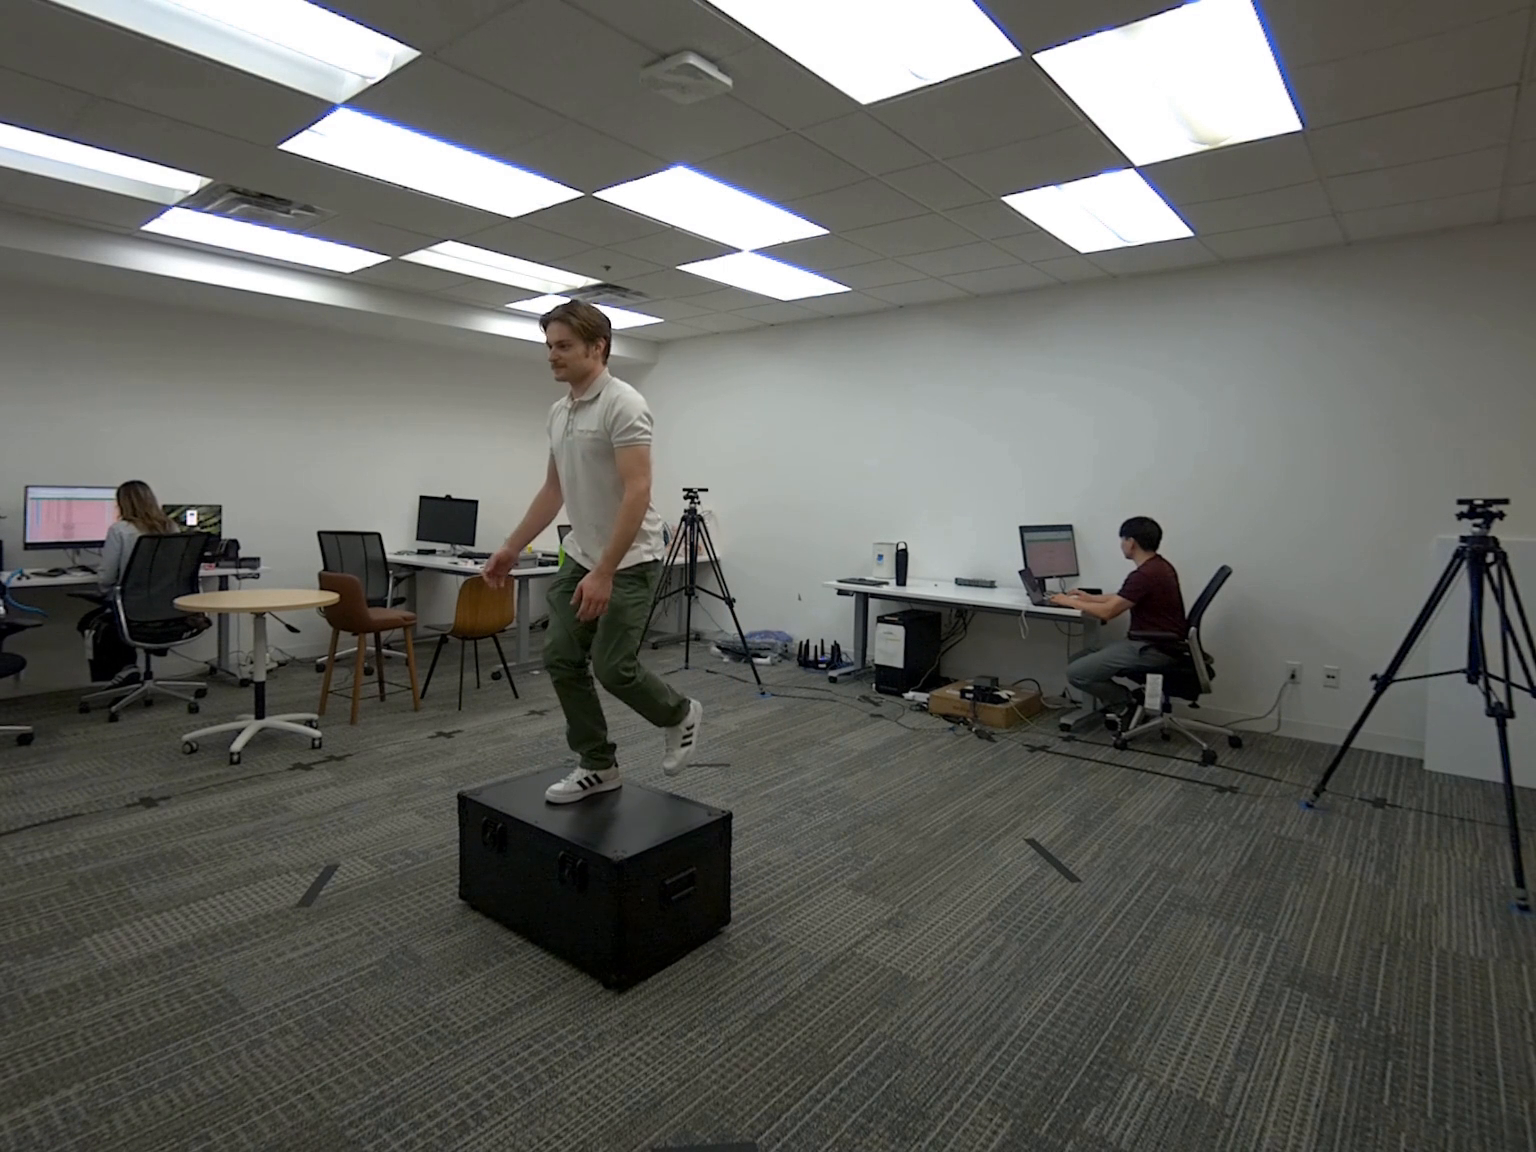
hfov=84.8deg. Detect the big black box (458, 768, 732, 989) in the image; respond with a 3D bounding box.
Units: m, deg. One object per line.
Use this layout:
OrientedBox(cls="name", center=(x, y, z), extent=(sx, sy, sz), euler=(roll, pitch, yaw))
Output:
OrientedBox(cls="big black box", center=(-0.601, 0.905, 2.763), extent=(0.897, 0.383, 0.509), euler=(4, 7, 39))
